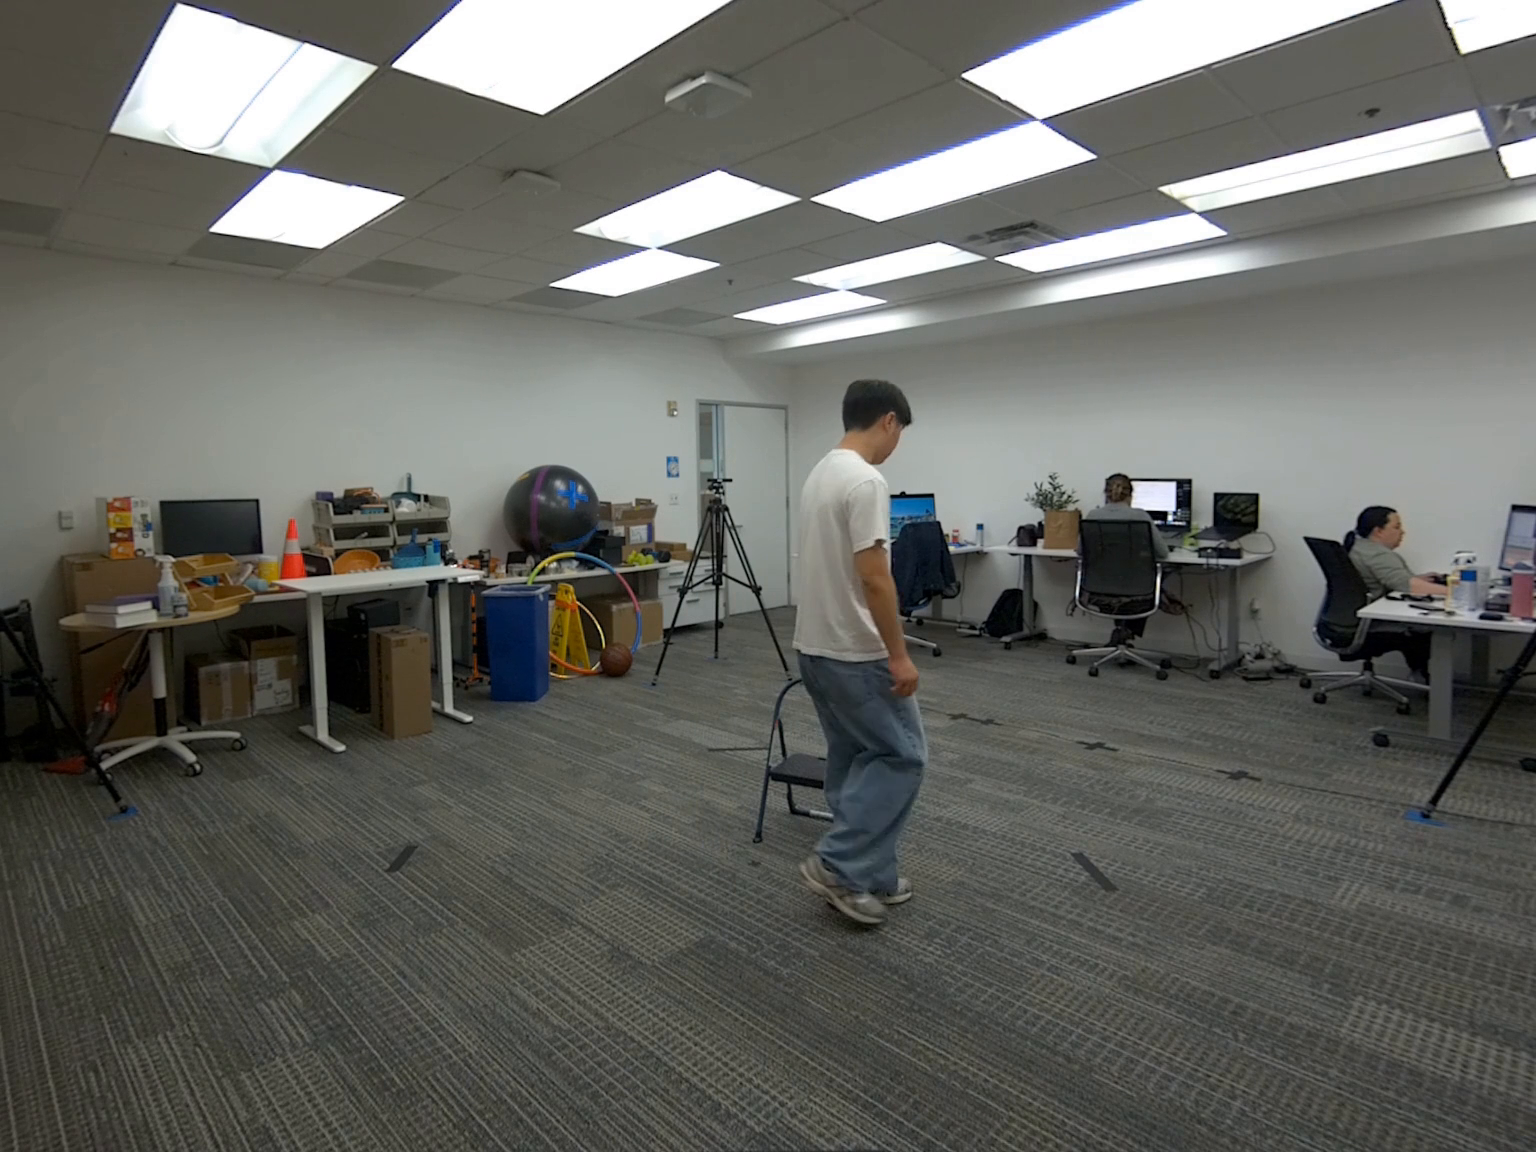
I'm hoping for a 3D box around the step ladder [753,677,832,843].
[{"bbox_3d":[0.205,0.713,3.317,0.442,0.604,0.342,2,5,29],"label":"step ladder"}]
